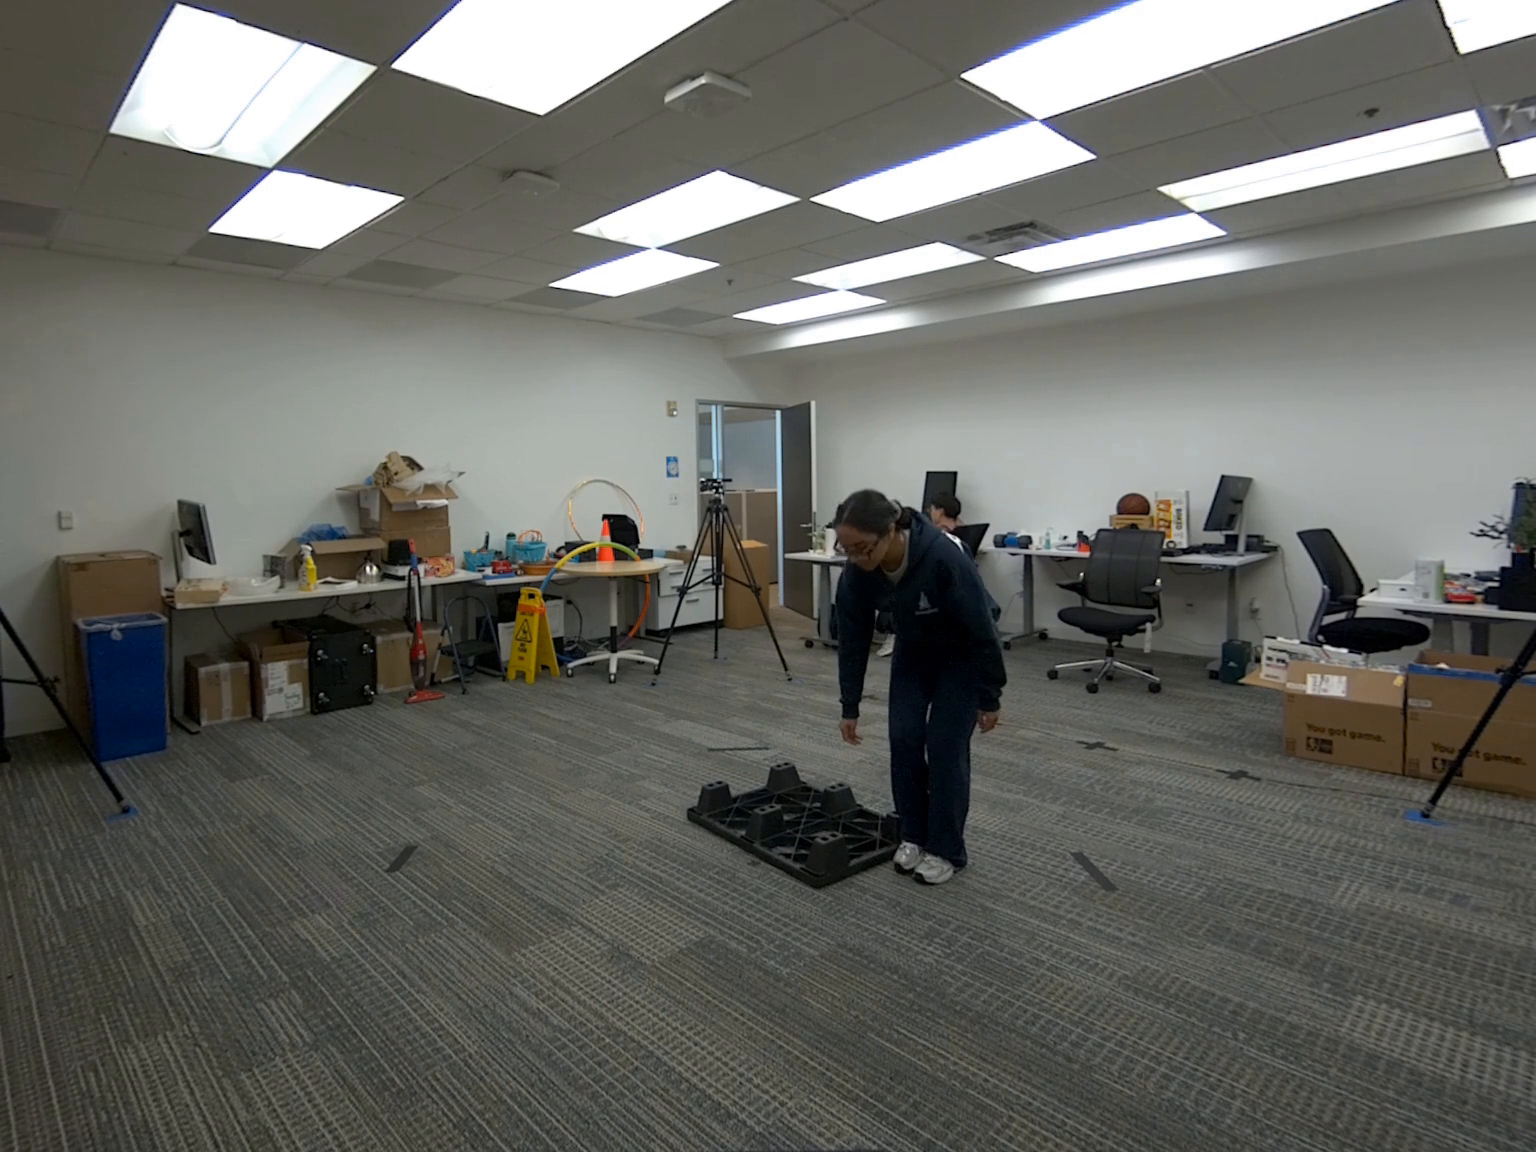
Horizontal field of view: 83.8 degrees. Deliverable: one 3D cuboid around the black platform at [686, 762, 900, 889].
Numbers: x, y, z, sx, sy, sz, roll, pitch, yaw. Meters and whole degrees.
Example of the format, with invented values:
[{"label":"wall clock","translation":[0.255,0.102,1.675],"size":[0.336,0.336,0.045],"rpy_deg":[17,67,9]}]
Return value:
[{"label":"black platform","translation":[0.137,0.942,3.382],"size":[0.589,0.143,0.830],"rpy_deg":[-5,7,-38]}]
